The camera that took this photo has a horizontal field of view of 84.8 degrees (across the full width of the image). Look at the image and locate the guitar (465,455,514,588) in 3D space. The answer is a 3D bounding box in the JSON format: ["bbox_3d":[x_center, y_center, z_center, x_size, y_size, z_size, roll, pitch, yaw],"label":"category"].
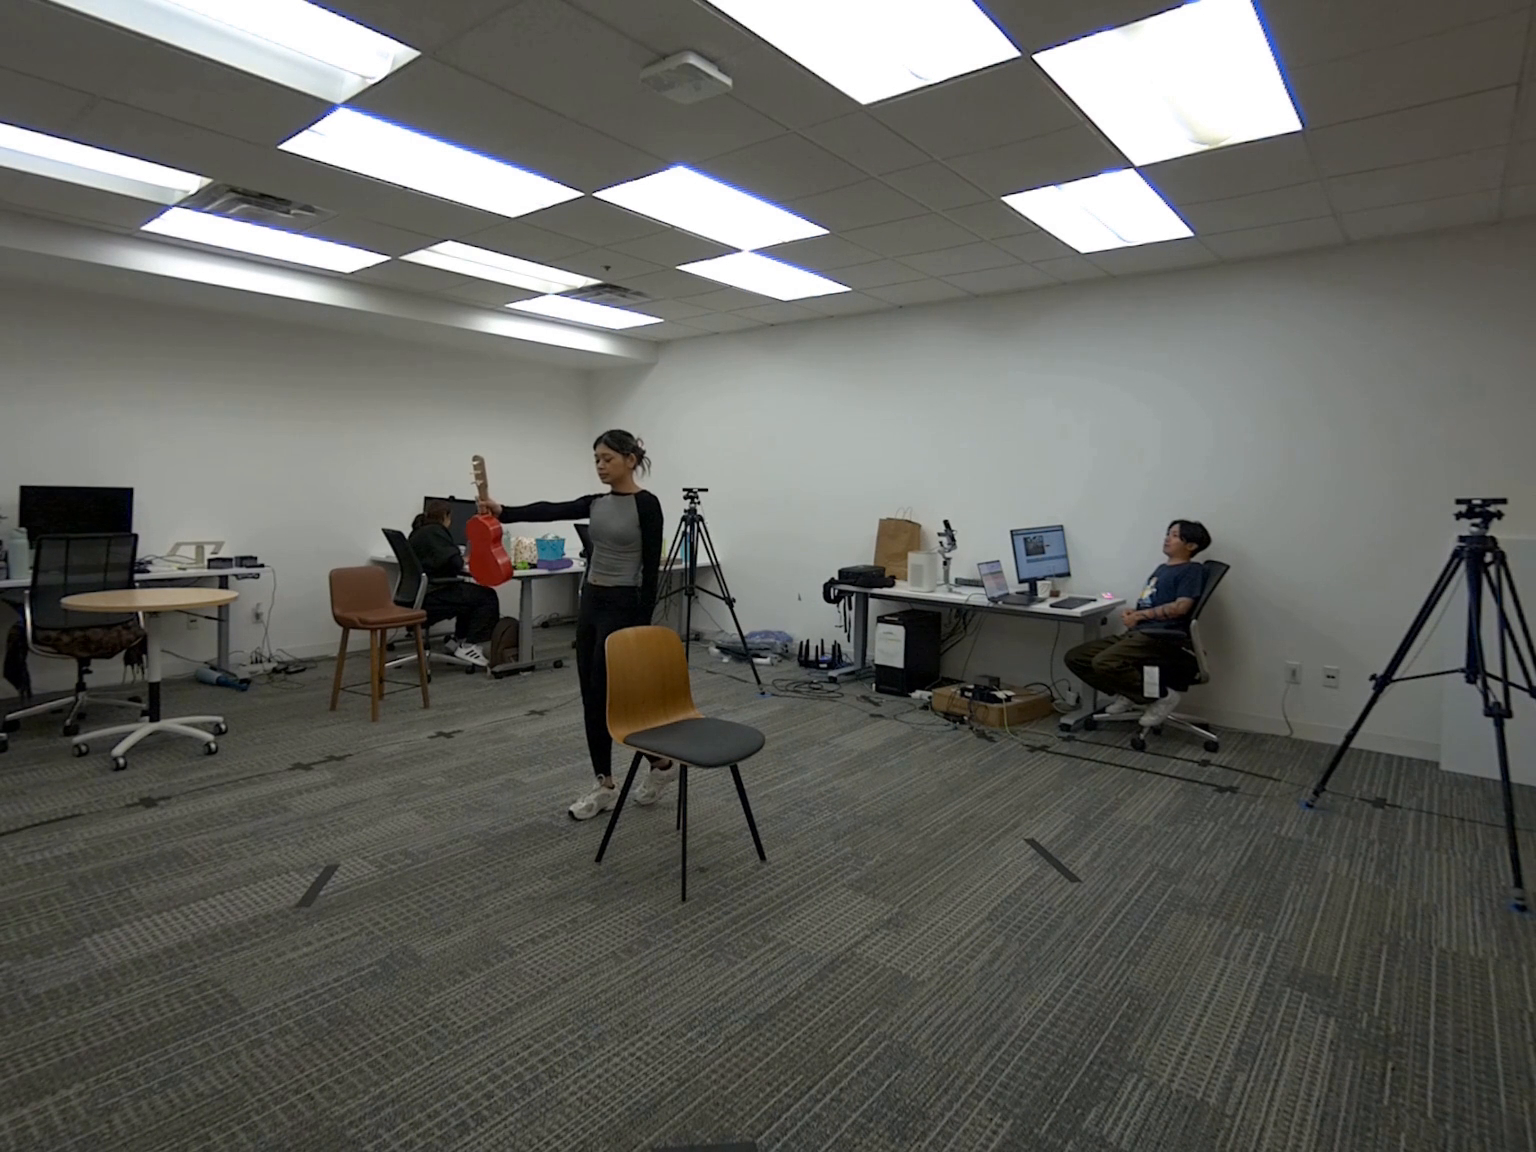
[{"bbox_3d":[-1.112,-0.204,3.244,0.198,0.492,0.069,-6,11,35],"label":"guitar"}]
